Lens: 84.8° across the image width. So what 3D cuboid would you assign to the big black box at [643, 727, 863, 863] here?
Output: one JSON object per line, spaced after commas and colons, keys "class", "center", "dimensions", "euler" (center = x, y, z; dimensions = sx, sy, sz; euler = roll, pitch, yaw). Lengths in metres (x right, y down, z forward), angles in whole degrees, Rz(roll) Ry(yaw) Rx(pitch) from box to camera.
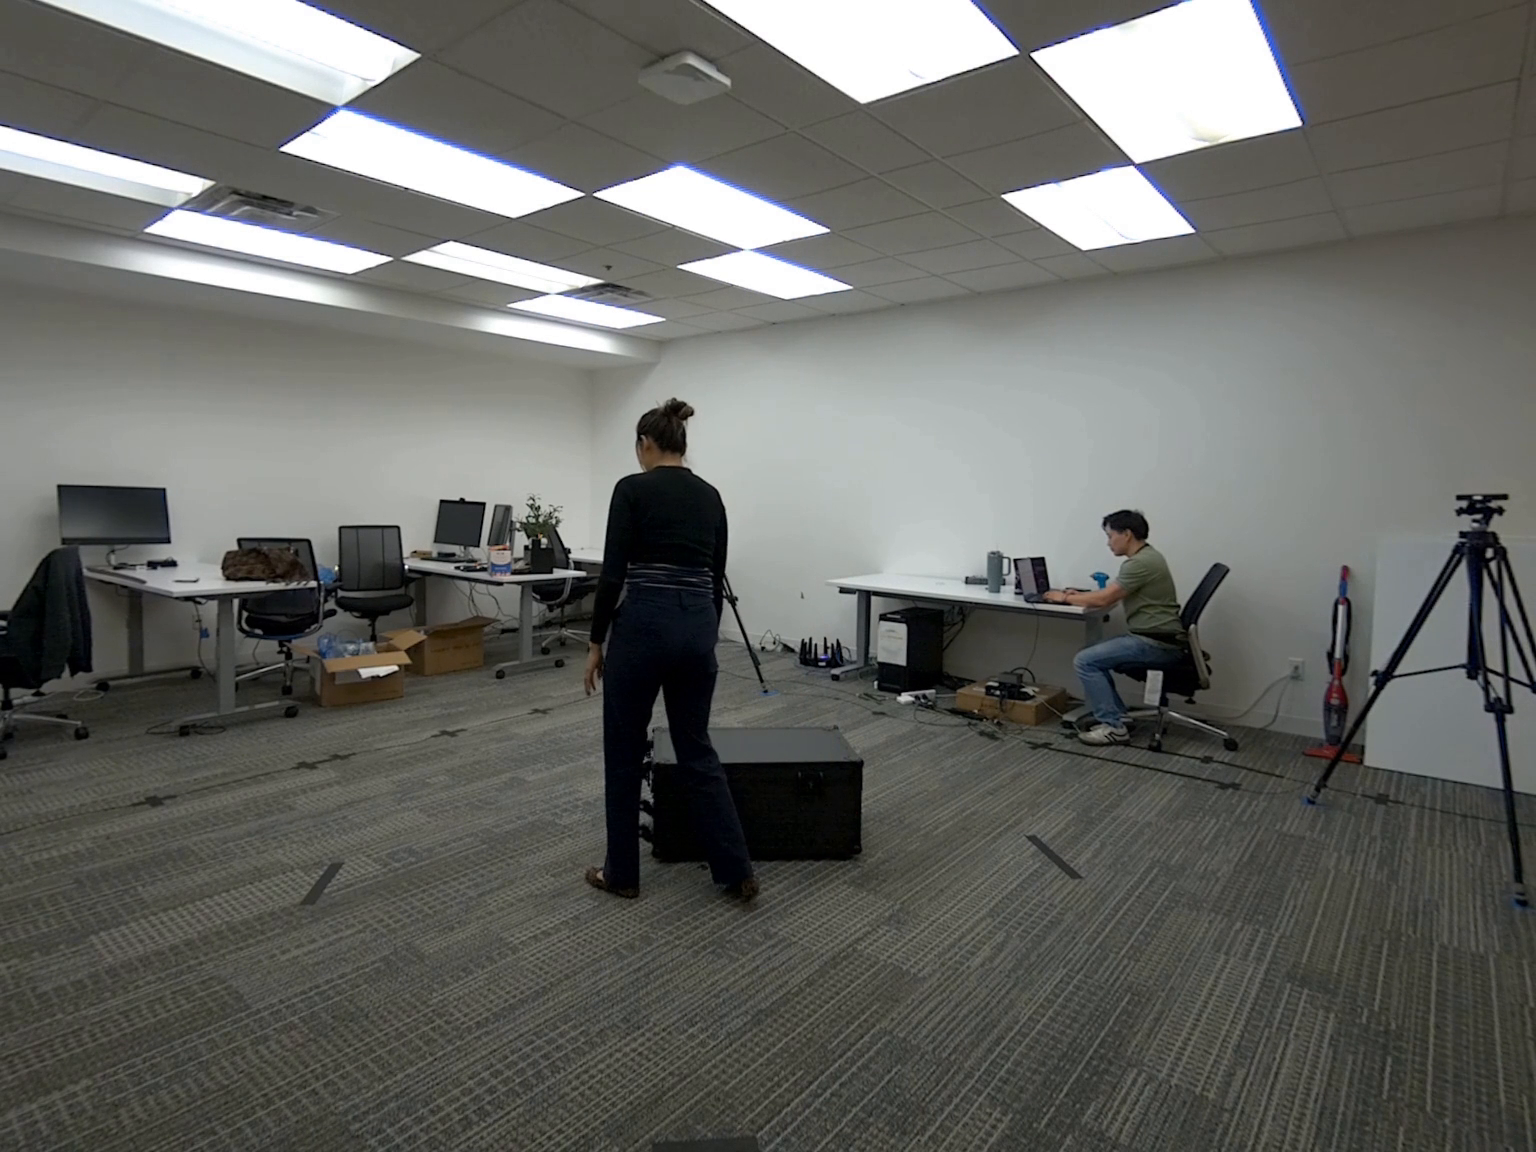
{"class": "big black box", "center": [-0.103, 0.845, 3.393], "dimensions": [0.857, 0.395, 0.526], "euler": [0, 5, -5]}
